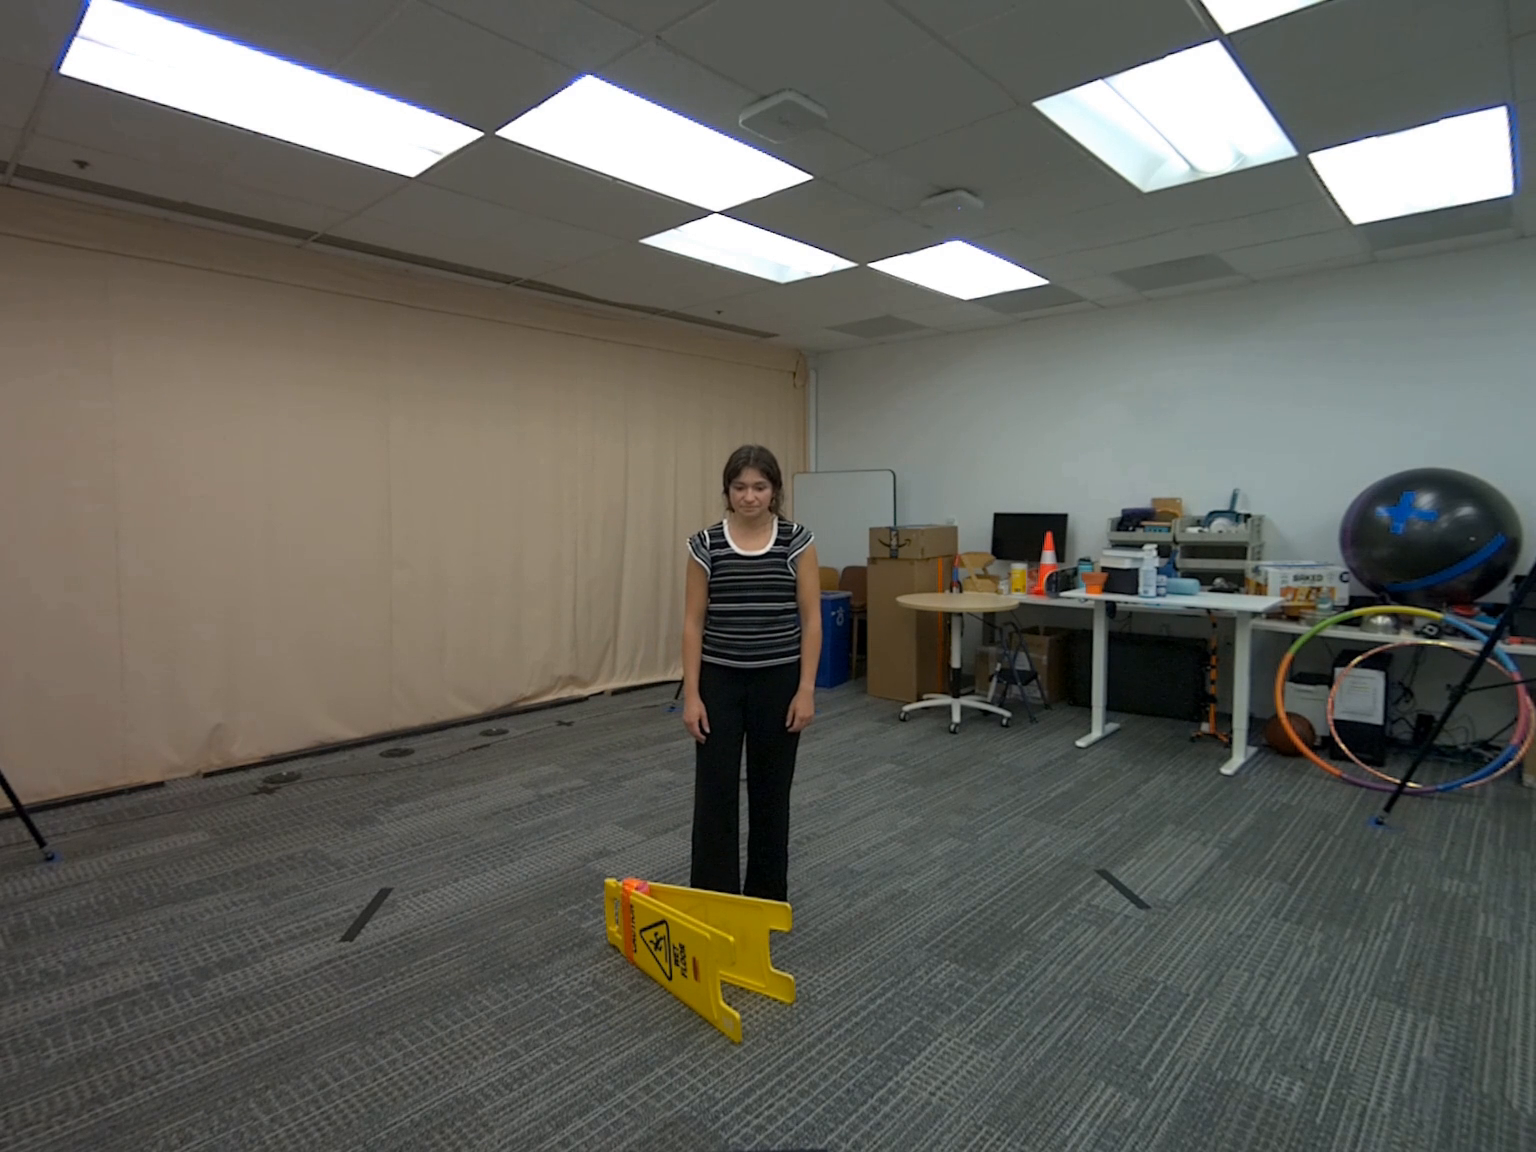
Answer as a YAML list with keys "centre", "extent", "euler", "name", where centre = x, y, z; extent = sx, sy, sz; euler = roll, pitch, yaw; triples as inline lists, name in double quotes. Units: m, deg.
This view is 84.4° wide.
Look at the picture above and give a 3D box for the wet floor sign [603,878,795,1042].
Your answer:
- centre: [-0.262, 1.065, 2.469]
  extent: [0.666, 0.282, 0.281]
  euler: [0, 4, 40]
  name: "wet floor sign"
